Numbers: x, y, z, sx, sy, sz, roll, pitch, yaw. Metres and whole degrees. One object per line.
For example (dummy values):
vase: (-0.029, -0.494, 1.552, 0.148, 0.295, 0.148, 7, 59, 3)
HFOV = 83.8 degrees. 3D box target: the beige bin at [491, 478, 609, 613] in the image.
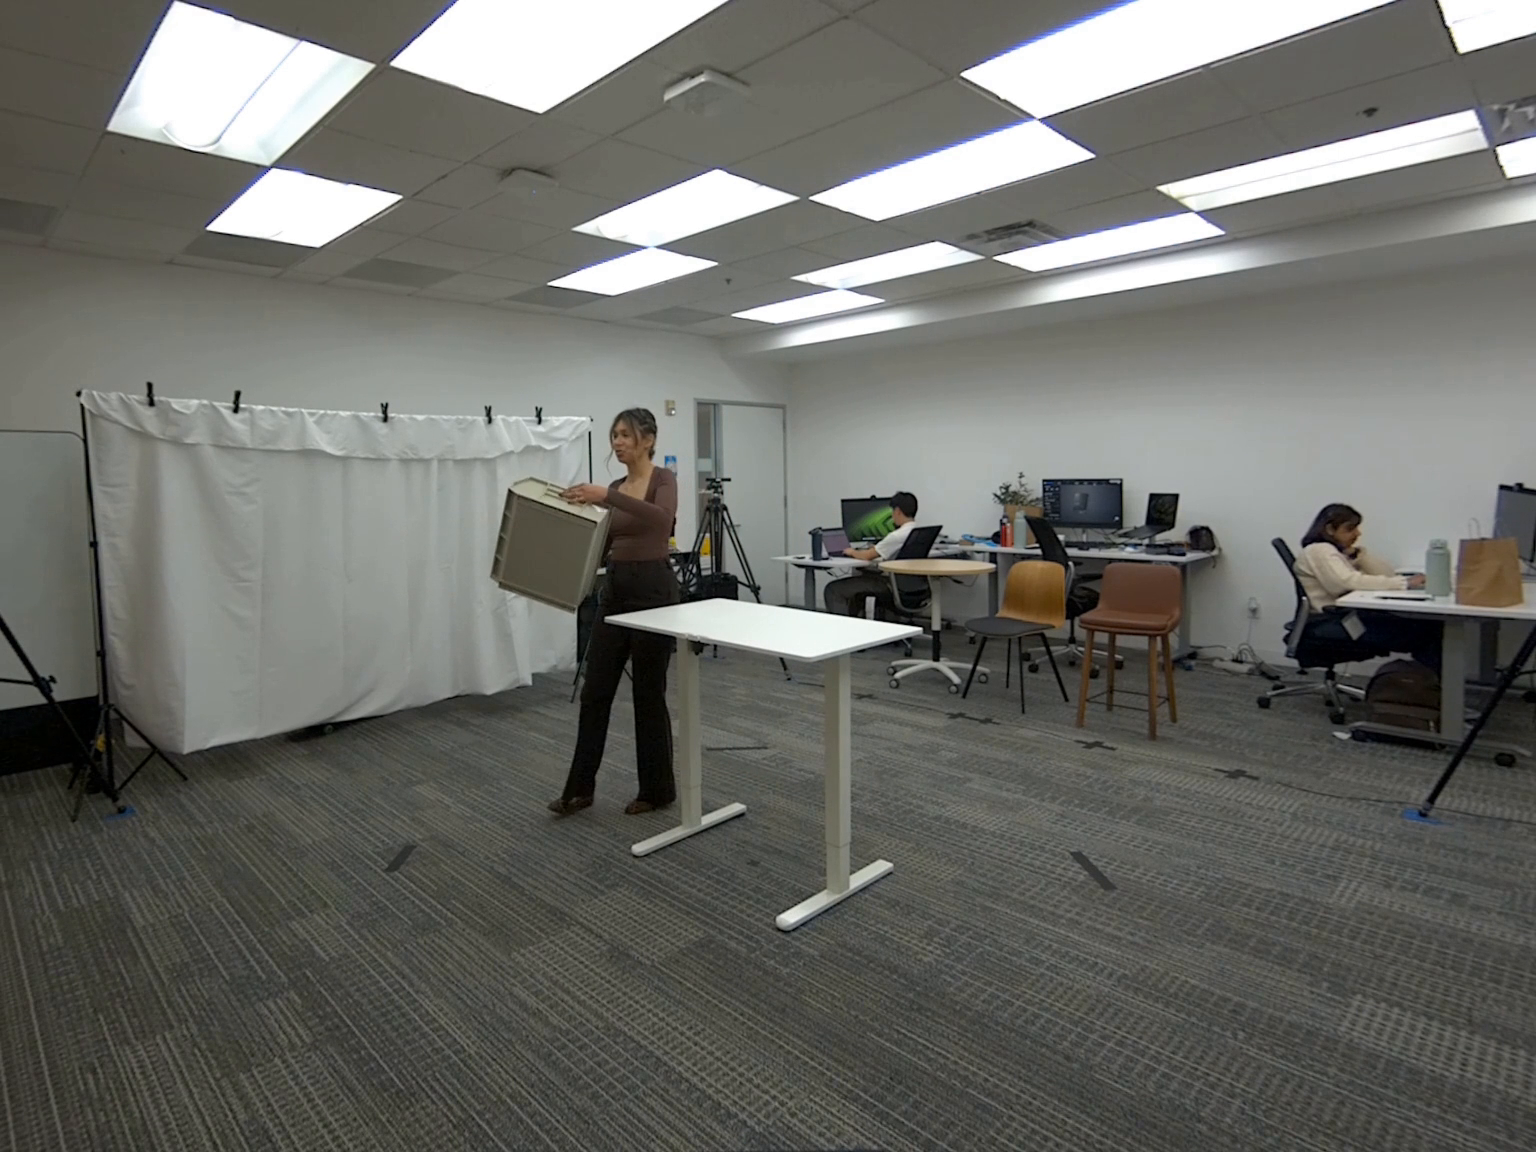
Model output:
beige bin: (-0.838, -0.120, 3.271, 0.378, 0.417, 0.191, 19, 25, 1)
